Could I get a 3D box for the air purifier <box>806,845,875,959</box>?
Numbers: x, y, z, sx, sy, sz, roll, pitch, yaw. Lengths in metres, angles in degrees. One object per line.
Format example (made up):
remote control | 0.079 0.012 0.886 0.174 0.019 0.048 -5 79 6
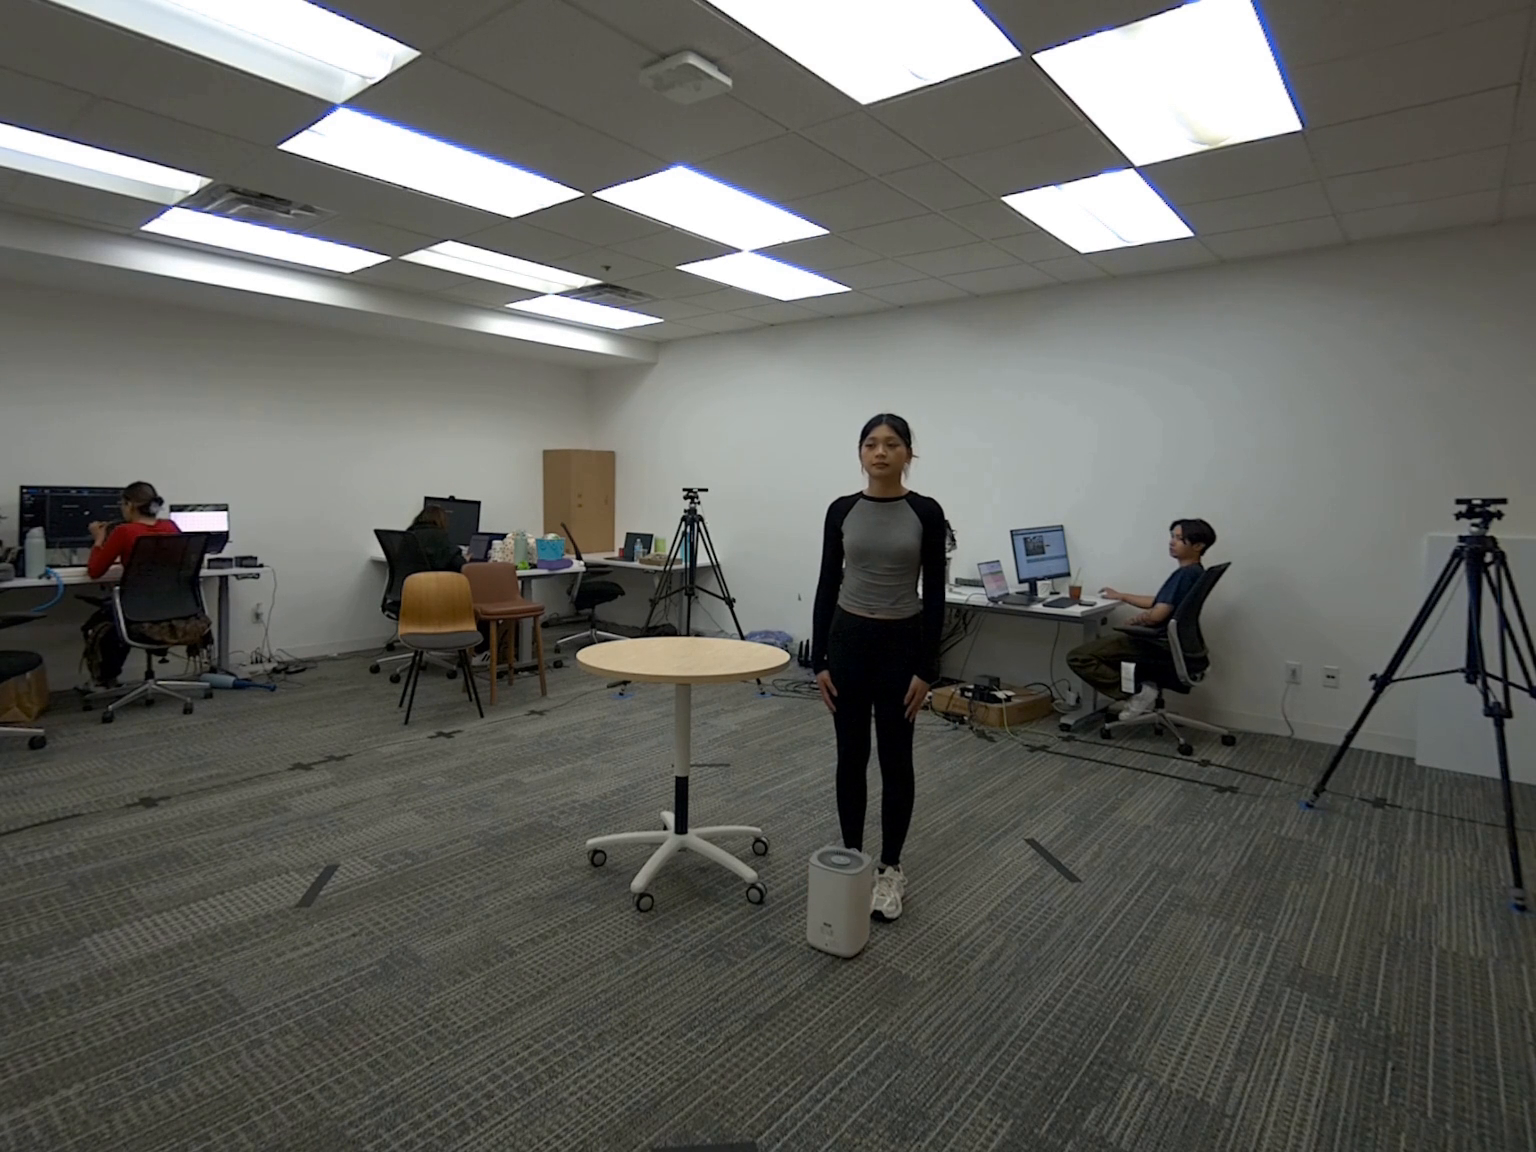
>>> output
air purifier | 0.214 0.993 2.610 0.176 0.265 0.167 3 4 29
